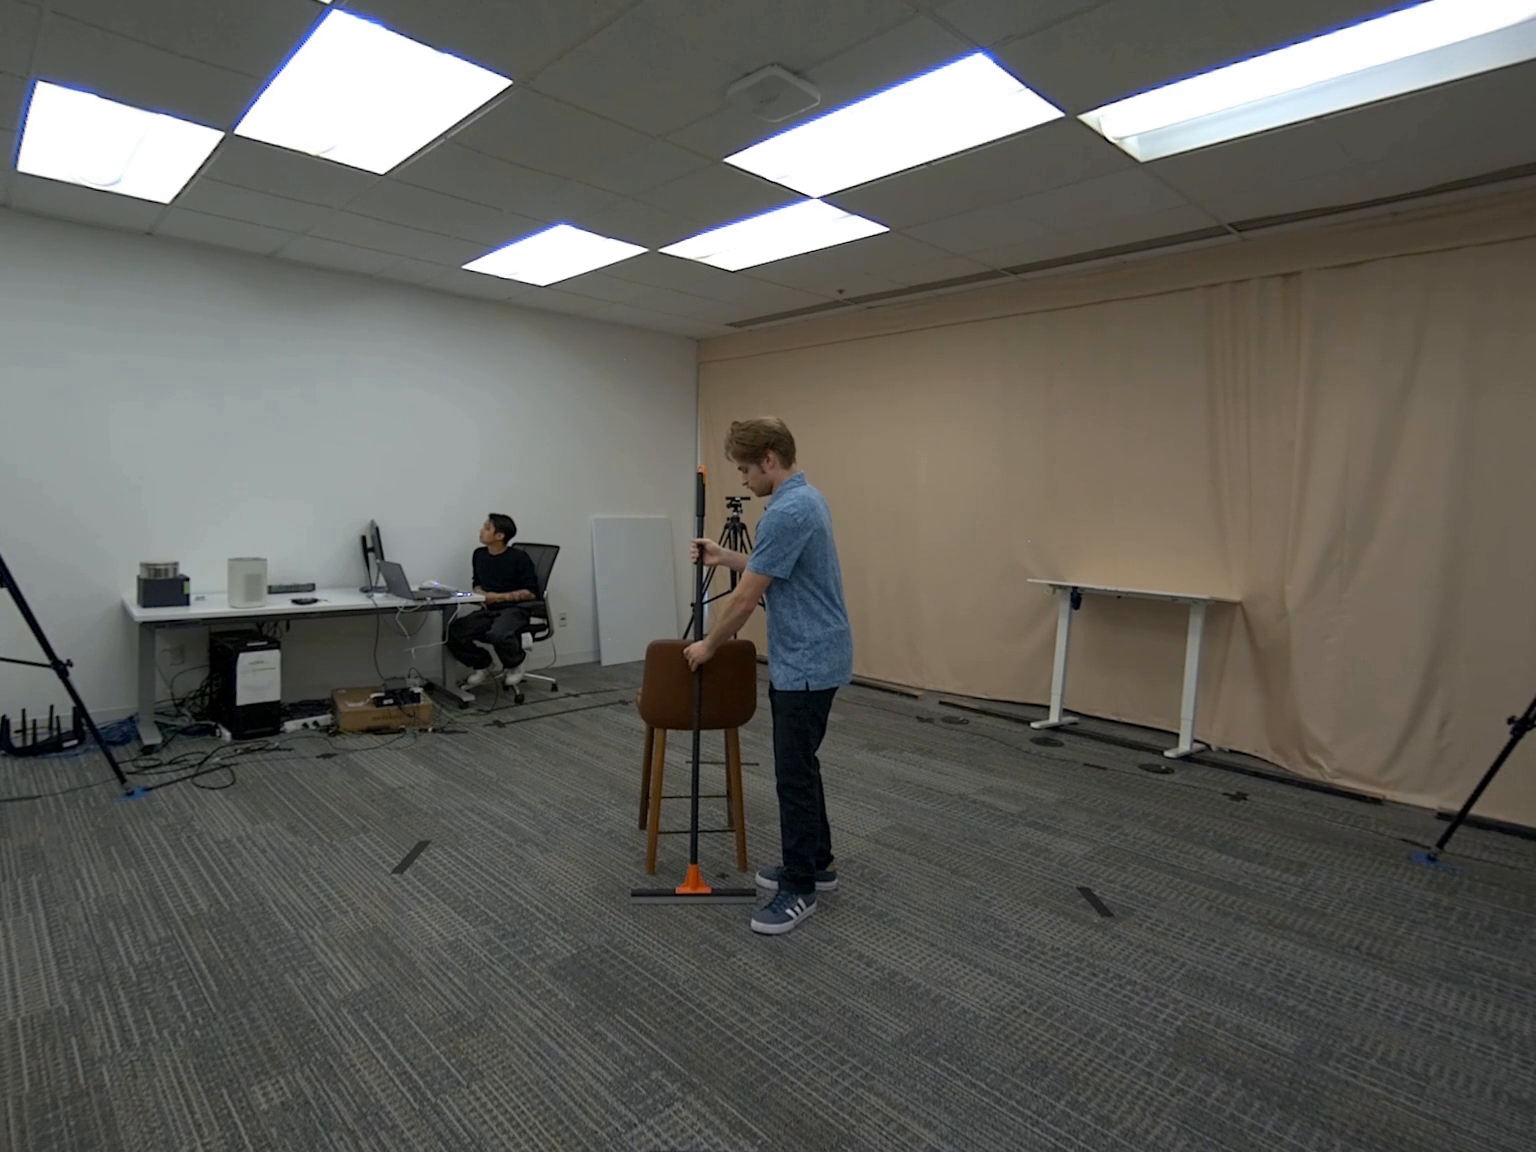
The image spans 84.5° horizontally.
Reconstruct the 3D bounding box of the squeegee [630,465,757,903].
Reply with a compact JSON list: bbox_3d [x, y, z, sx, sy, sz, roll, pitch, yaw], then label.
[{"bbox_3d":[-0.245,0.350,3.012,0.439,1.546,0.052,0,-8,6],"label":"squeegee"}]
